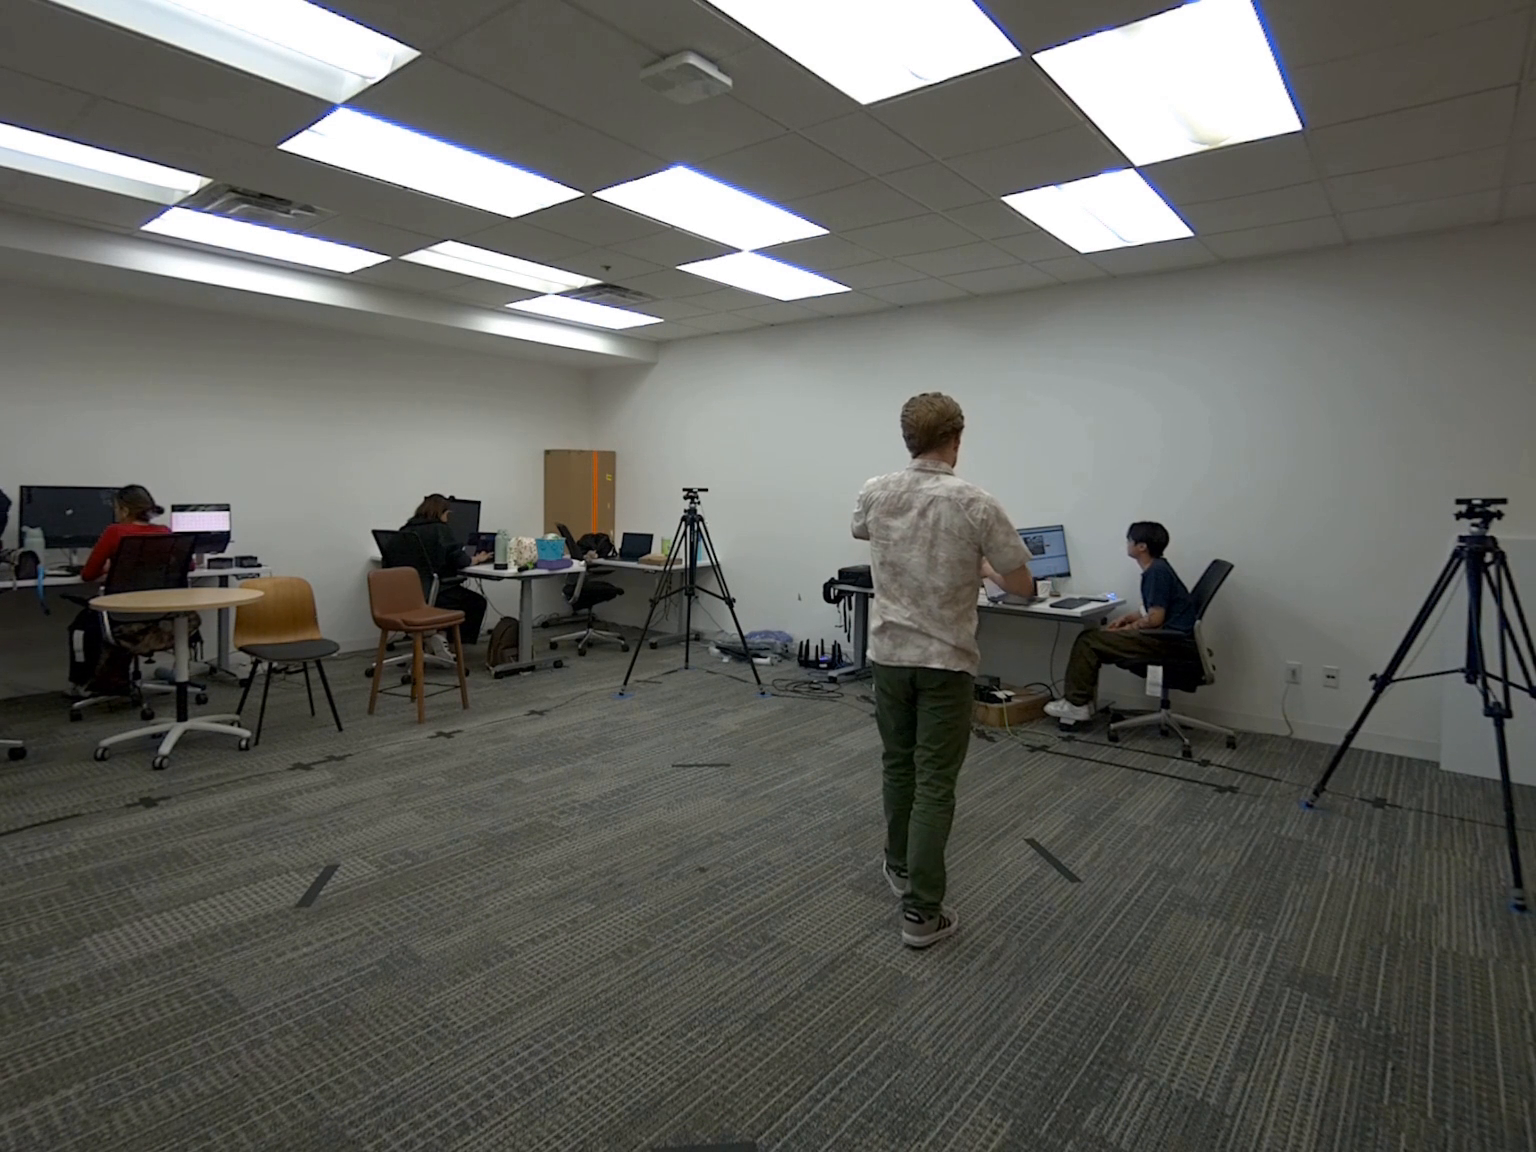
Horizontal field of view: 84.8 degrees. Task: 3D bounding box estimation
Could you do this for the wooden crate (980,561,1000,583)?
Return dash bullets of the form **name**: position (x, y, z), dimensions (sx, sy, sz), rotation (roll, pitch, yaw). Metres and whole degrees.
- **wooden crate**: position (0.637, -0.085, 3.134), dimensions (0.320, 0.313, 0.268), rotation (-16, -31, -20)
